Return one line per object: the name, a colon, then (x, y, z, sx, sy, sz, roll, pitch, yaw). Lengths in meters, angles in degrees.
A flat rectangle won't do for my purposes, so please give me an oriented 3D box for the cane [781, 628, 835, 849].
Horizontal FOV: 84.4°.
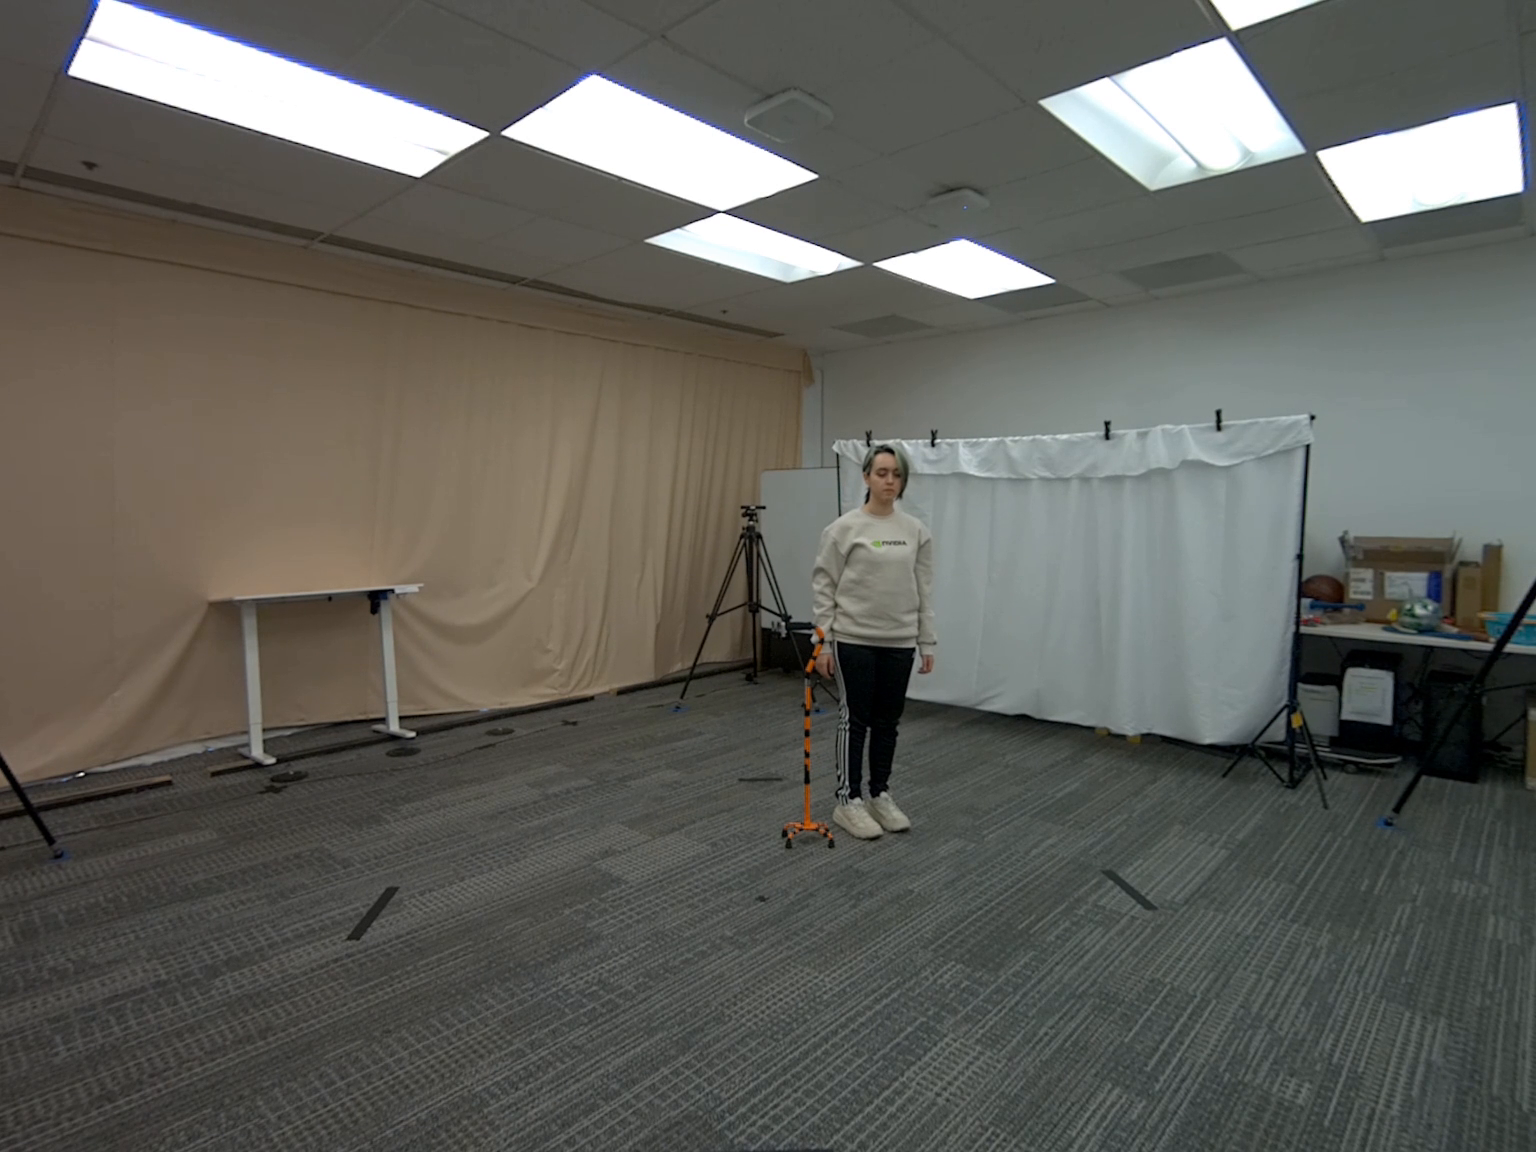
cane: (0.166, 0.651, 3.467, 0.206, 0.907, 0.152, 0, 2, -4)
